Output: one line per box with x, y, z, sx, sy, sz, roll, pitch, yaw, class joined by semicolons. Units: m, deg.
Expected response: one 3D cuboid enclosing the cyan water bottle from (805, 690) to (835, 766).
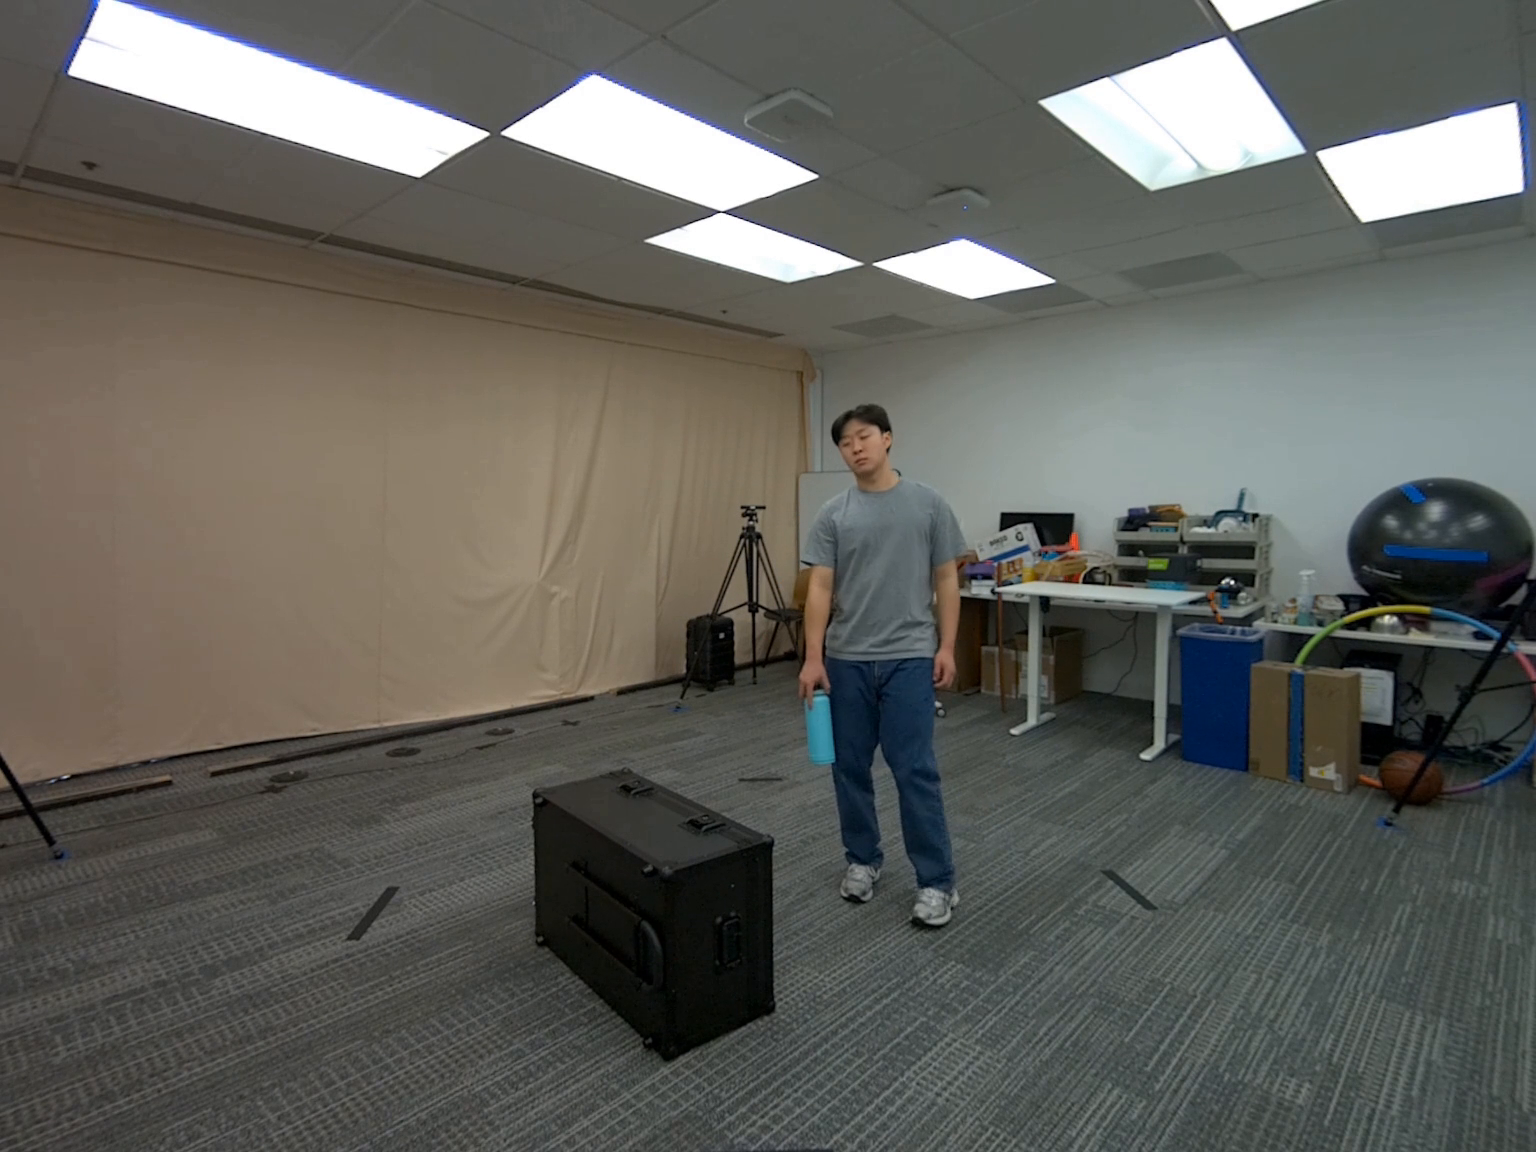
0.187;0.508;2.949;0.092;0.285;0.092;-3;-7;-2;cyan water bottle
